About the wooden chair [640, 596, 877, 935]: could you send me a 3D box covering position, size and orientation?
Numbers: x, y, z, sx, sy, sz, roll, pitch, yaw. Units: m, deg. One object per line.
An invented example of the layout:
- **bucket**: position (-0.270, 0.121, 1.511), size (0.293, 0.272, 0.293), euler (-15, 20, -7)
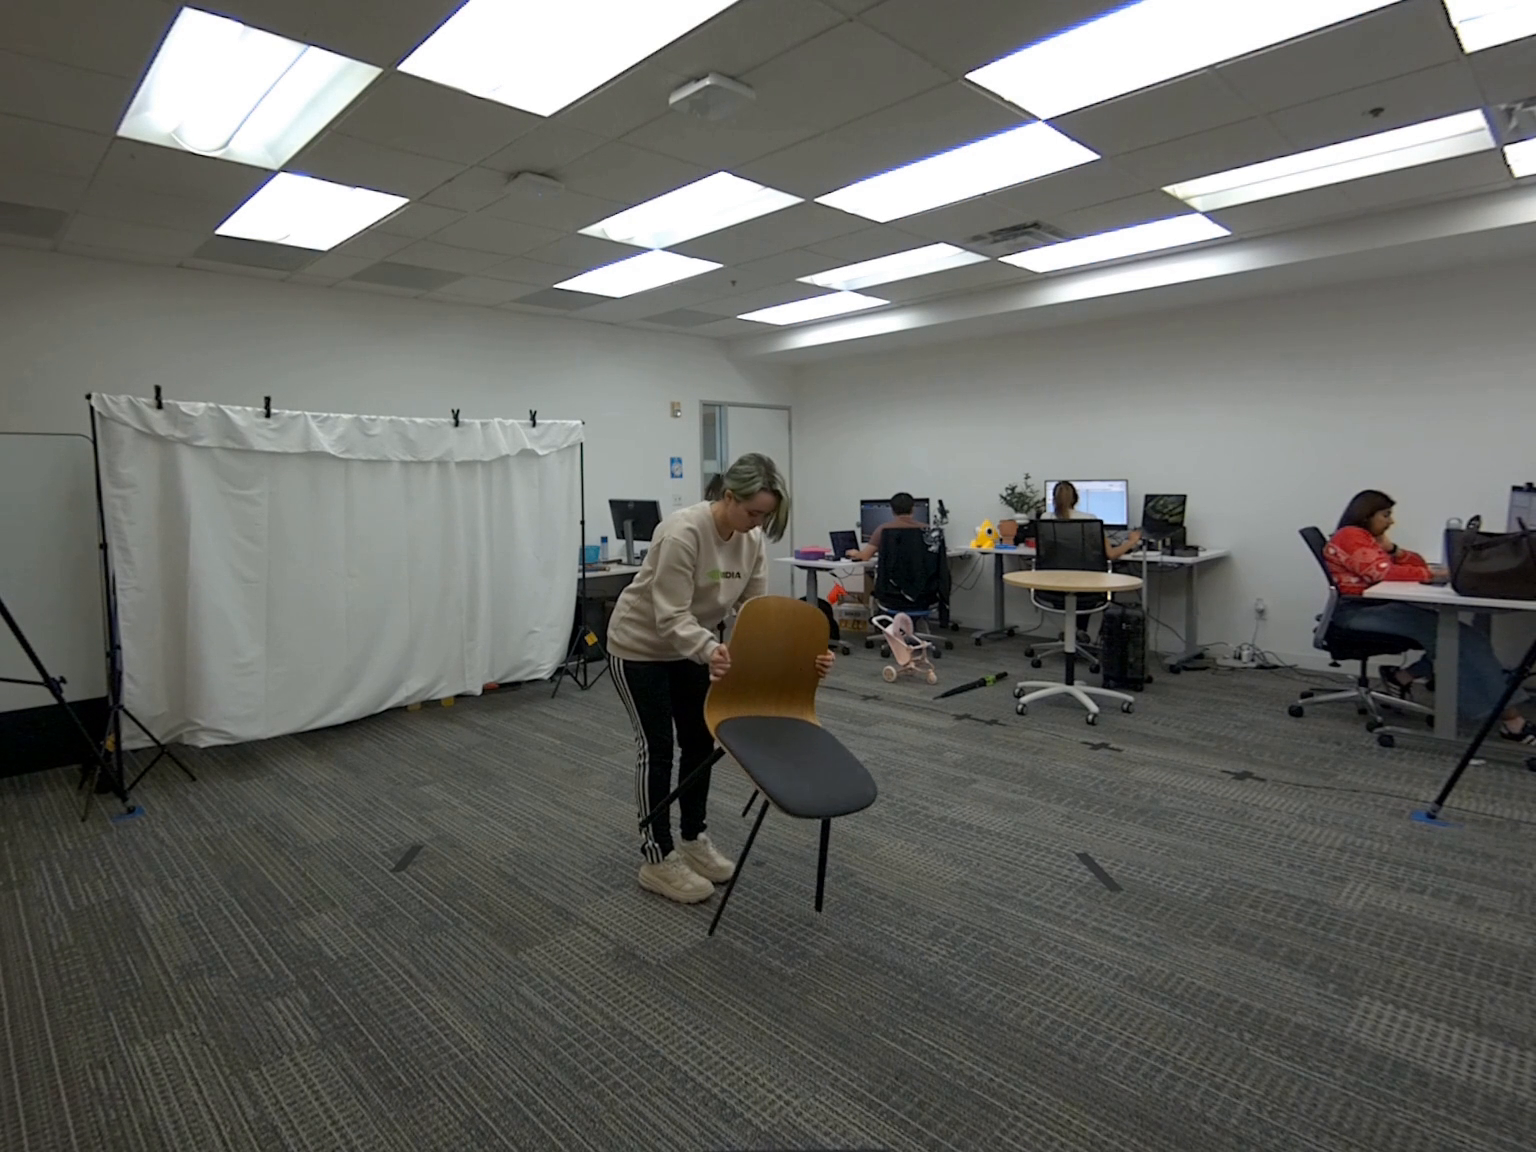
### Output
- **wooden chair**: position (0.042, 0.570, 2.604), size (0.463, 0.871, 0.544), euler (9, 17, -40)
